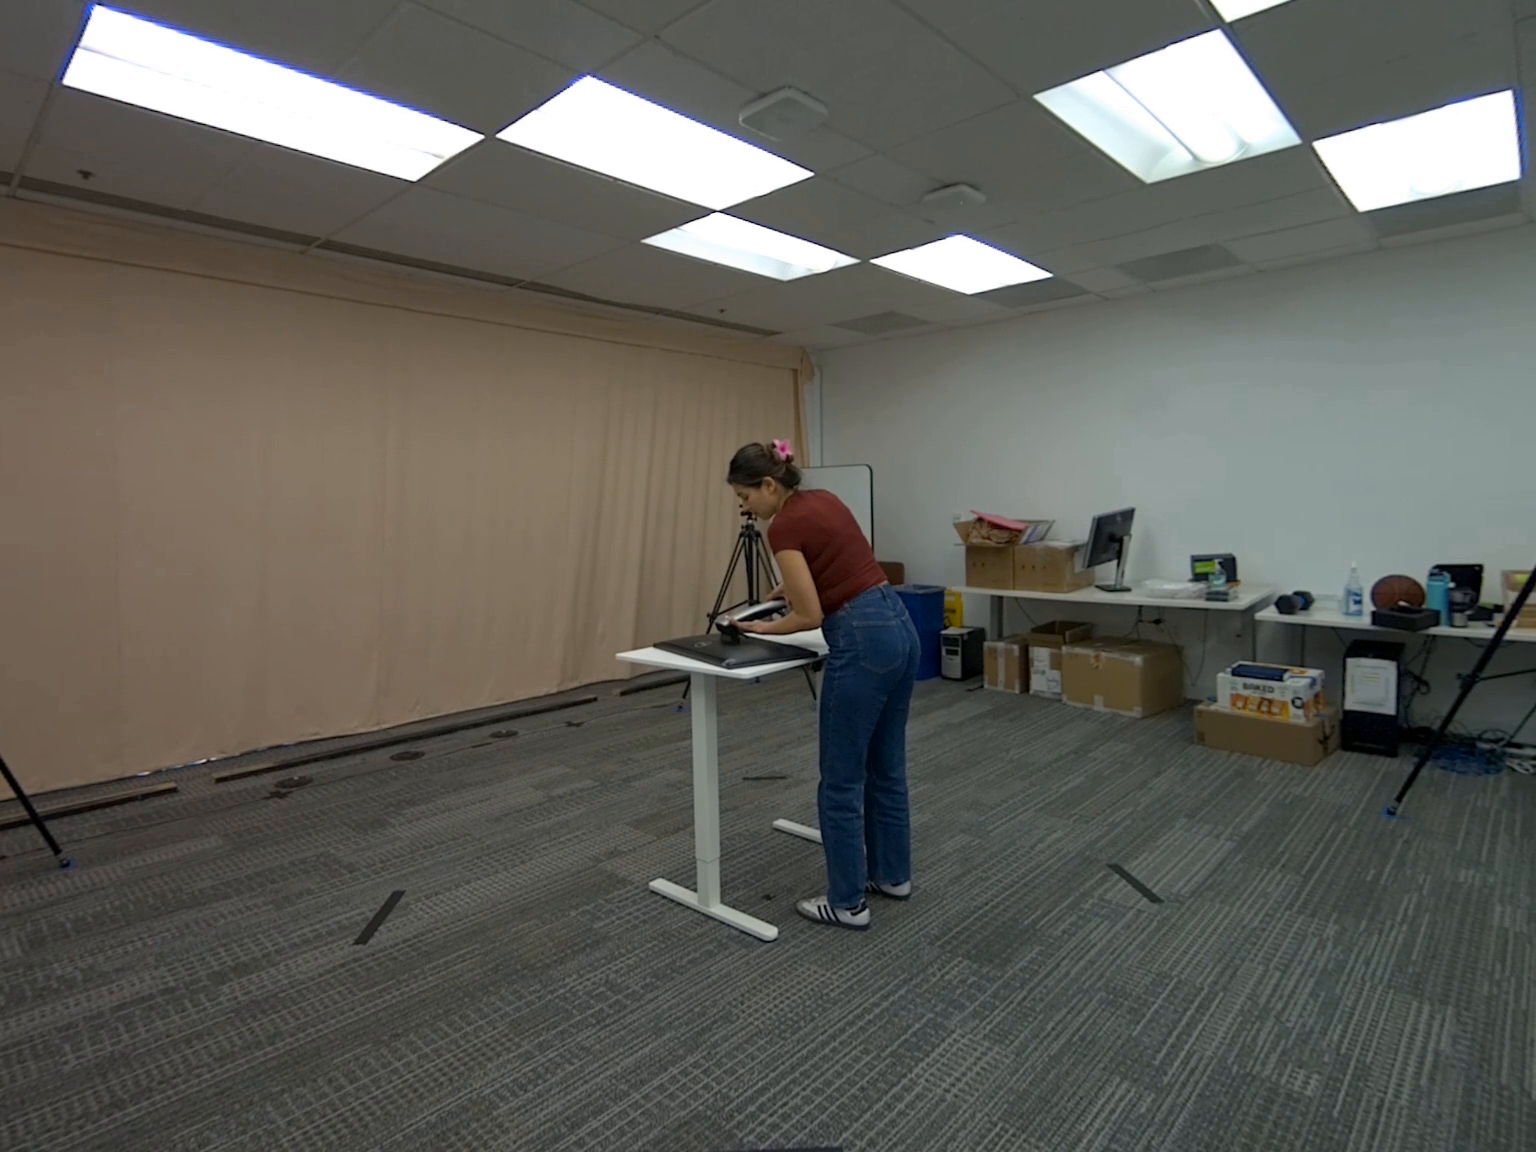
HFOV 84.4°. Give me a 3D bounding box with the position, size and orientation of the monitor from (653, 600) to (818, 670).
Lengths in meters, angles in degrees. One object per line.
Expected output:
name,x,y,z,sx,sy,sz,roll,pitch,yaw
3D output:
monitor,-0.064,0.192,2.968,0.513,0.185,0.555,-24,15,-29
